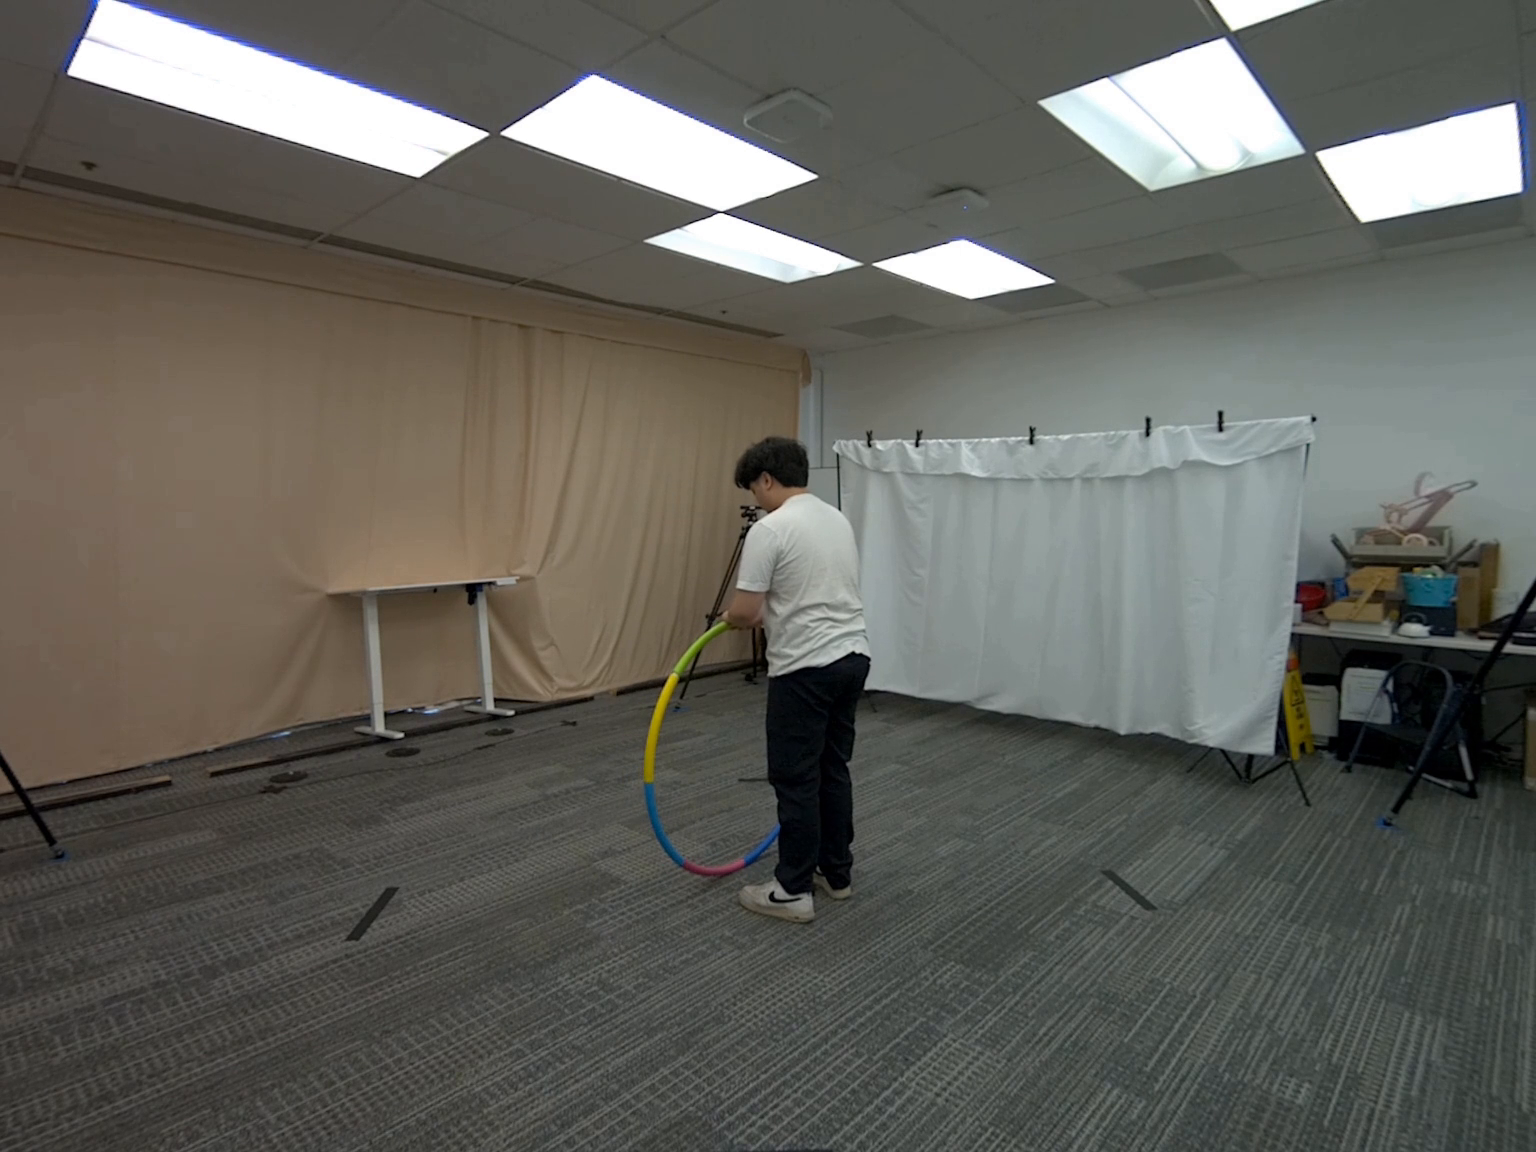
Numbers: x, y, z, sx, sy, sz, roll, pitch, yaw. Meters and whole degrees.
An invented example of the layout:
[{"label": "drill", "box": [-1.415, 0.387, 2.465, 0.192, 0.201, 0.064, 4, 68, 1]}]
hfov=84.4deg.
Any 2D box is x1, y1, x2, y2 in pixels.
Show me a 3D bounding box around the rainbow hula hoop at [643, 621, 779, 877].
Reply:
[{"label": "rainbow hula hoop", "box": [-0.102, 0.640, 3.199, 0.053, 0.983, 0.955, 4, 5, 40]}]
